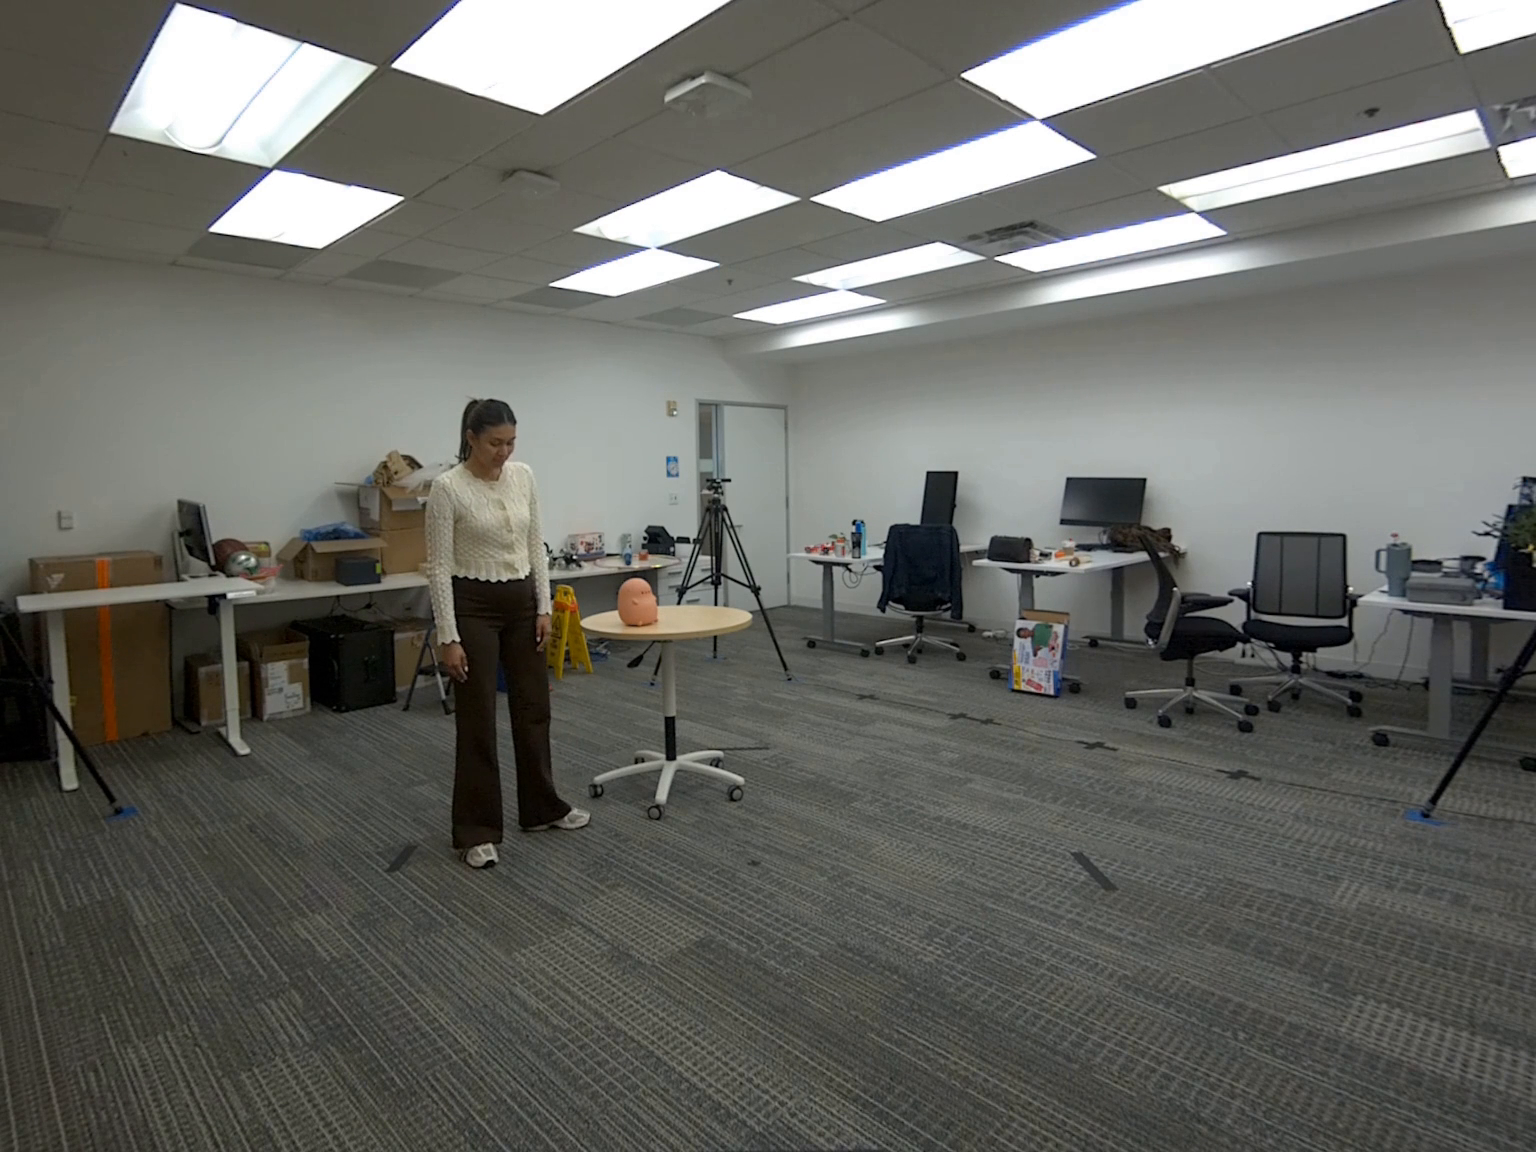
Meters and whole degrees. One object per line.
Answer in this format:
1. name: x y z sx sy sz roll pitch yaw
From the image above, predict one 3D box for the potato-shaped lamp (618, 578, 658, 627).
1. potato-shaped lamp: -0.560 0.110 3.679 0.176 0.197 0.161 0 9 43
